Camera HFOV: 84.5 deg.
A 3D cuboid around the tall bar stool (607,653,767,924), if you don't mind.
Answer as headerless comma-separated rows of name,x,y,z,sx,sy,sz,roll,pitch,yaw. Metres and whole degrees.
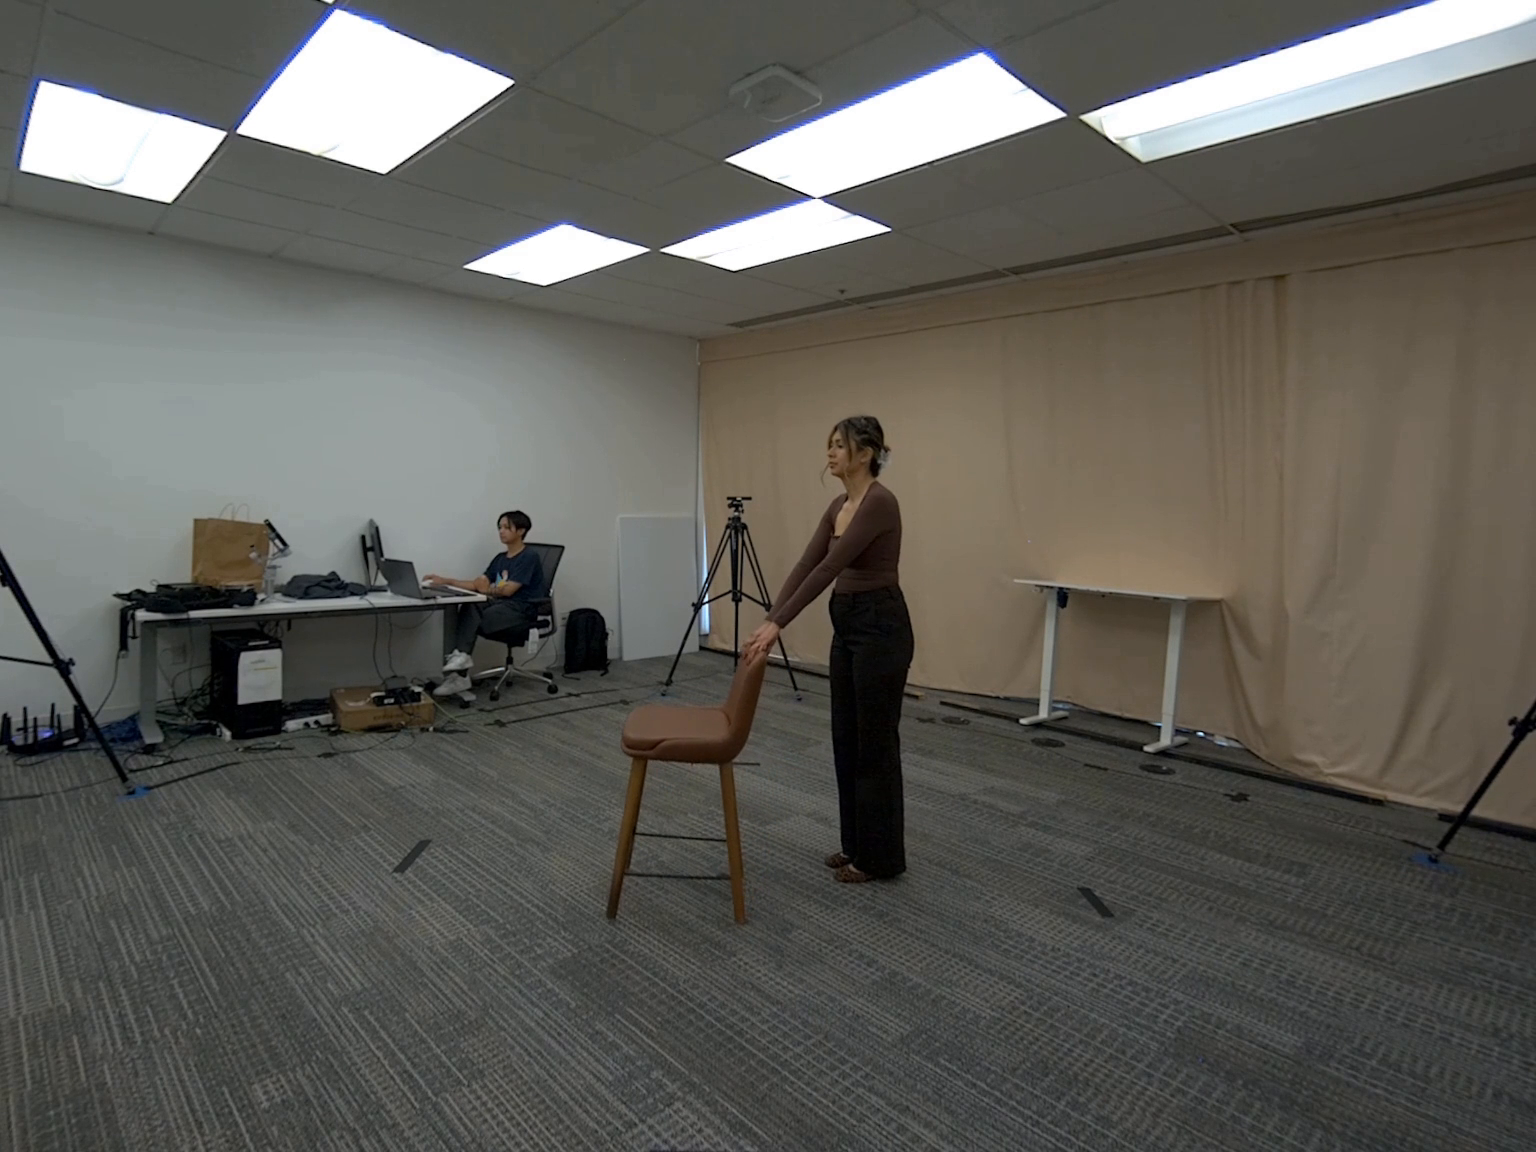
tall bar stool,-0.281,0.682,2.909,0.467,0.887,0.458,5,4,-2
